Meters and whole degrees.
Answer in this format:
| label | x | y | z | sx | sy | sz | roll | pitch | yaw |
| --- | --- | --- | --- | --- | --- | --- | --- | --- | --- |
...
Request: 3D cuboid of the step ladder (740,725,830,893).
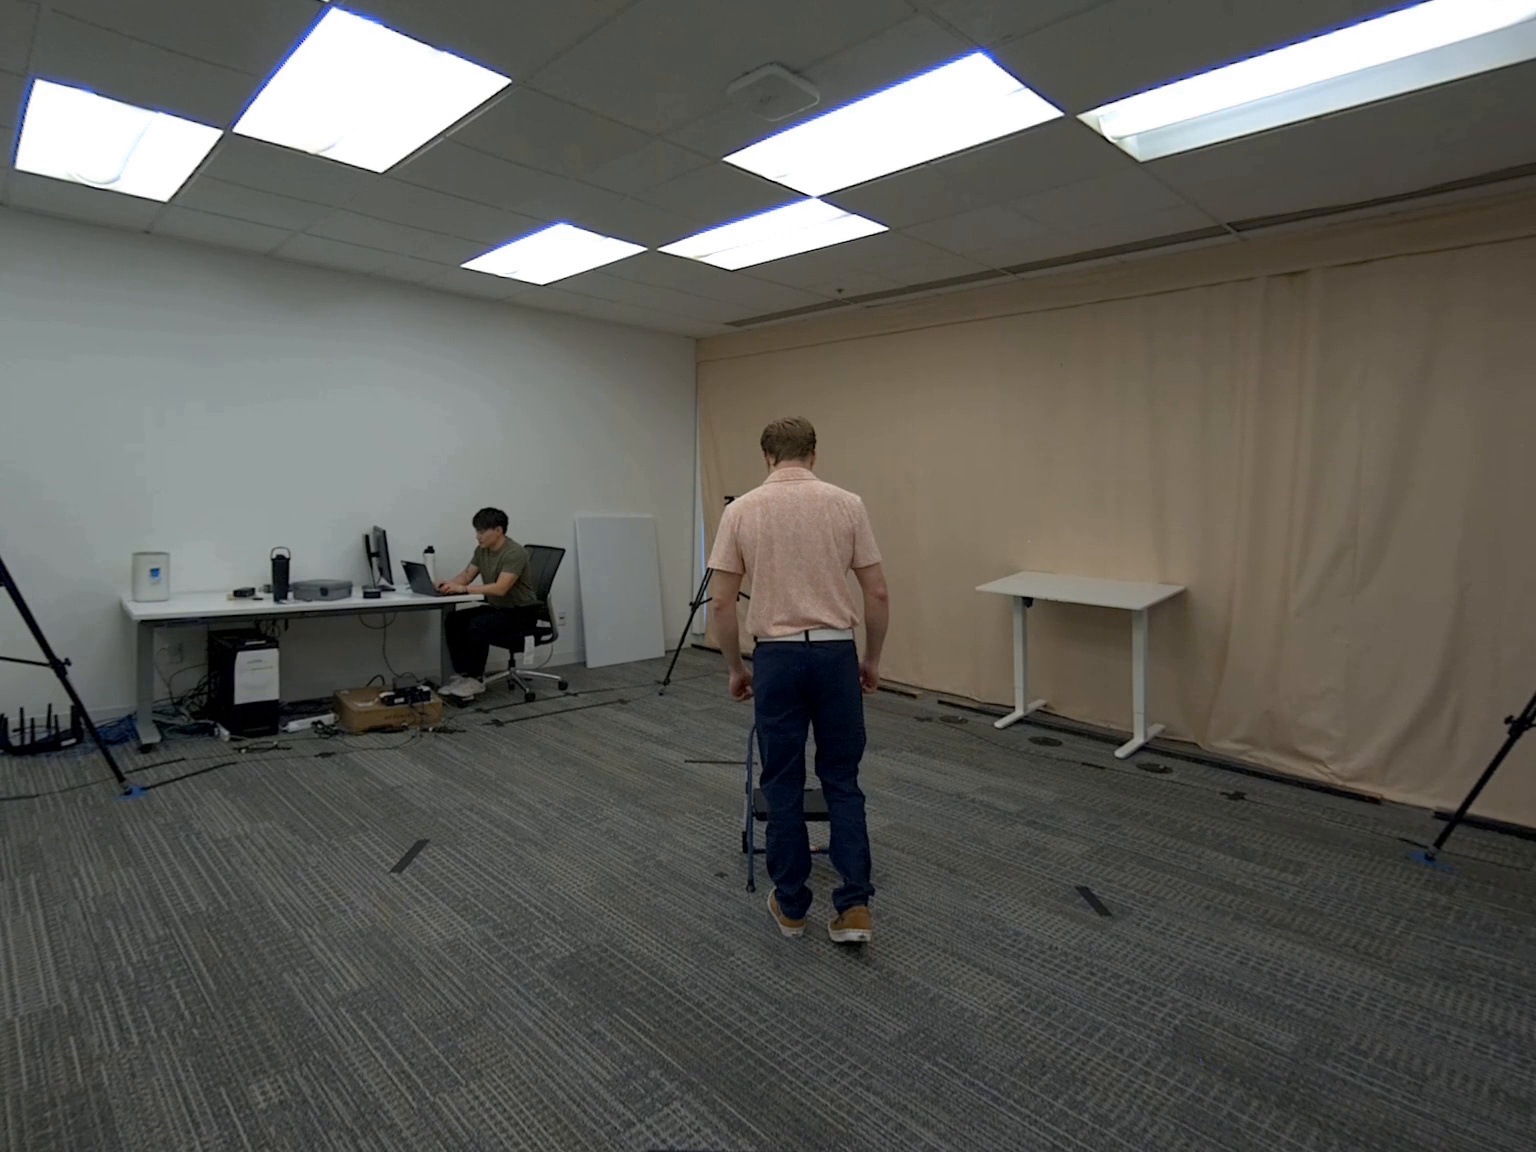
| label | x | y | z | sx | sy | sz | roll | pitch | yaw |
| --- | --- | --- | --- | --- | --- | --- | --- | --- | --- |
| step ladder | 0.125 | 0.807 | 3.147 | 0.429 | 0.605 | 0.351 | 2 | 3 | -6 |
